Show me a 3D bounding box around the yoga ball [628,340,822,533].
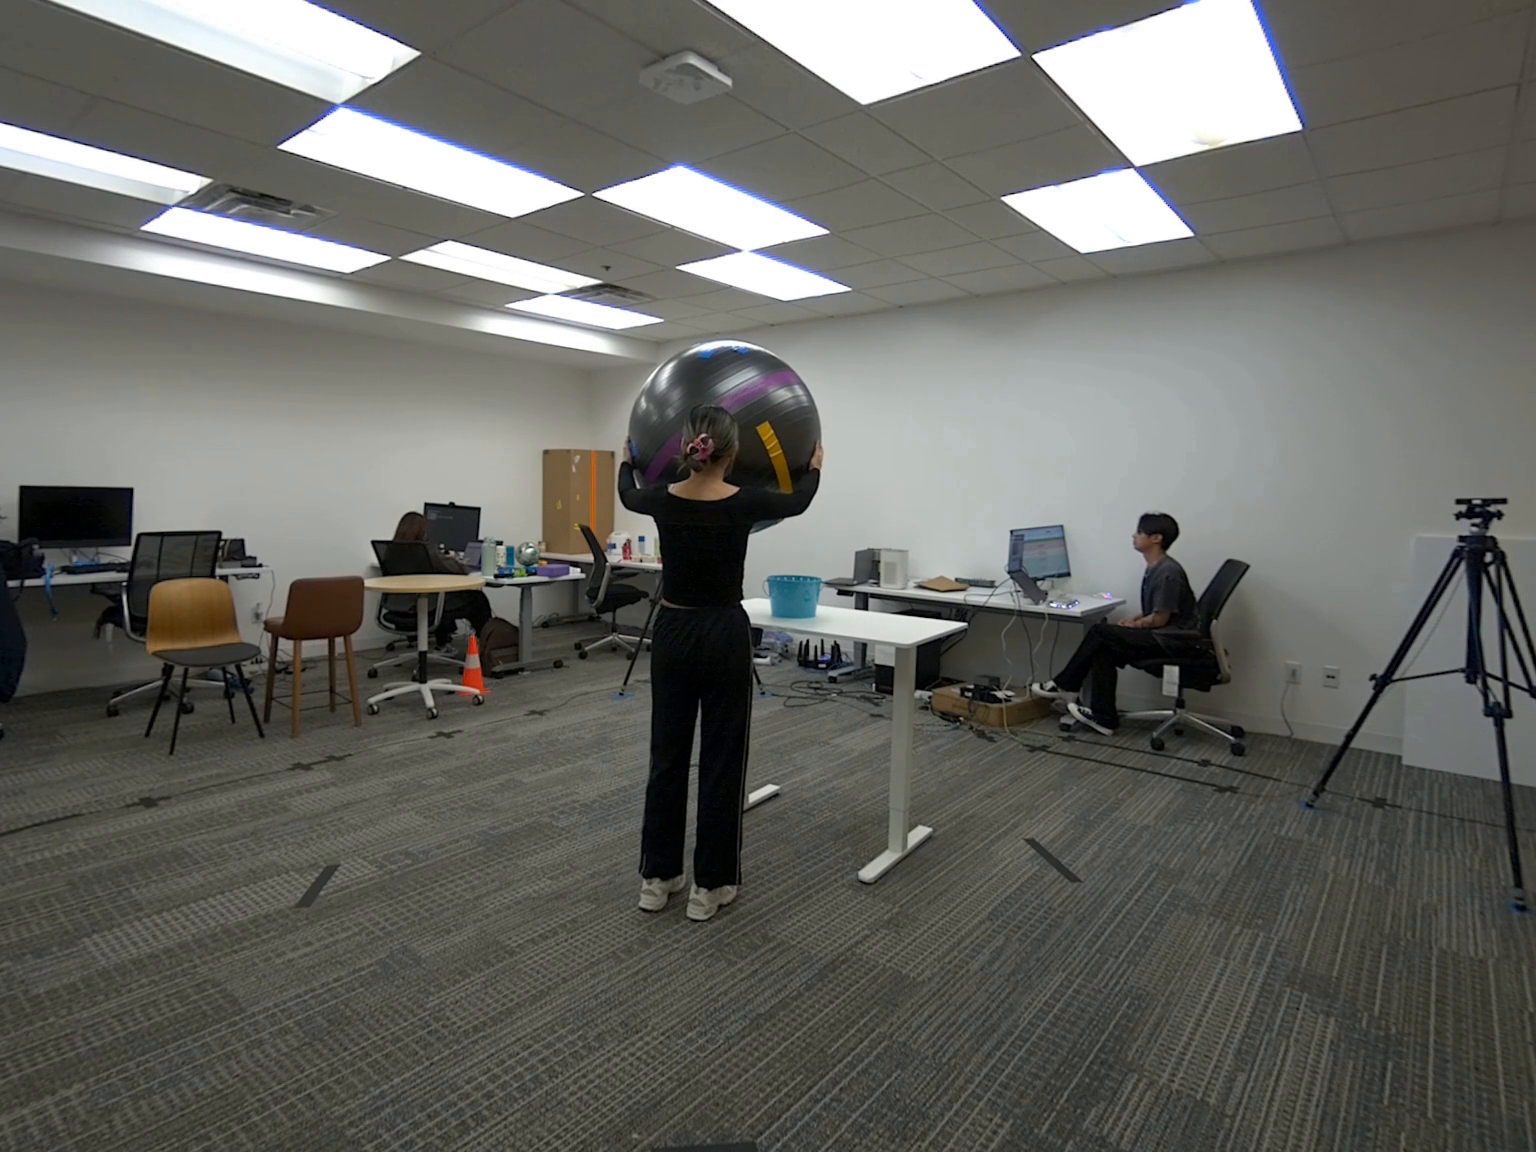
[{"bbox_3d":[-0.179,-0.523,3.316,0.757,0.756,0.761,1,4,-2],"label":"yoga ball"}]
